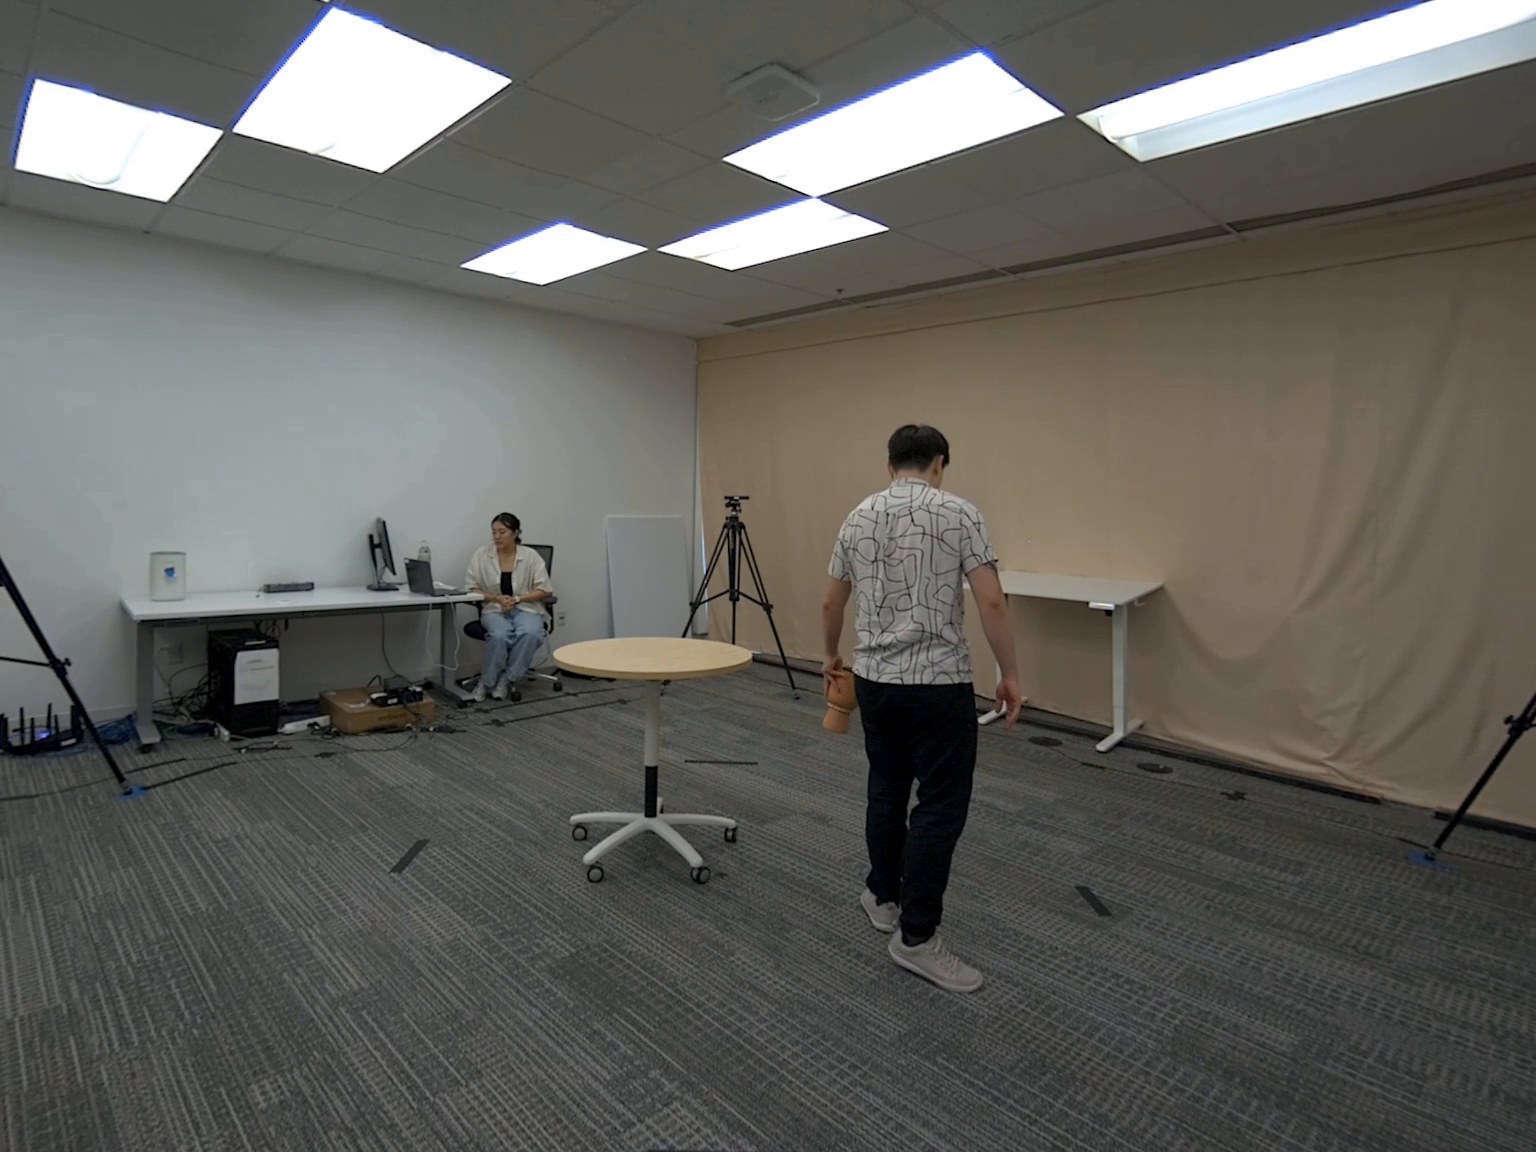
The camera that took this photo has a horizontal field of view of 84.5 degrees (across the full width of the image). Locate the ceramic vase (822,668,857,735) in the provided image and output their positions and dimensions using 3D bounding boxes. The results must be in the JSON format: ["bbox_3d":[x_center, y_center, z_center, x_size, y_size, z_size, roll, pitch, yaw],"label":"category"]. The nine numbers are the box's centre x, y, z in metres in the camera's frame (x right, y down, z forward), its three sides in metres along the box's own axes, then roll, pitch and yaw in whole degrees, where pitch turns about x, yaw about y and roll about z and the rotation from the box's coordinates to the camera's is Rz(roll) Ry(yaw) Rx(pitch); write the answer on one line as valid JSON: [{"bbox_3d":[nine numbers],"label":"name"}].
[{"bbox_3d":[0.261,0.447,3.037,0.135,0.219,0.158,14,1,6],"label":"ceramic vase"}]
